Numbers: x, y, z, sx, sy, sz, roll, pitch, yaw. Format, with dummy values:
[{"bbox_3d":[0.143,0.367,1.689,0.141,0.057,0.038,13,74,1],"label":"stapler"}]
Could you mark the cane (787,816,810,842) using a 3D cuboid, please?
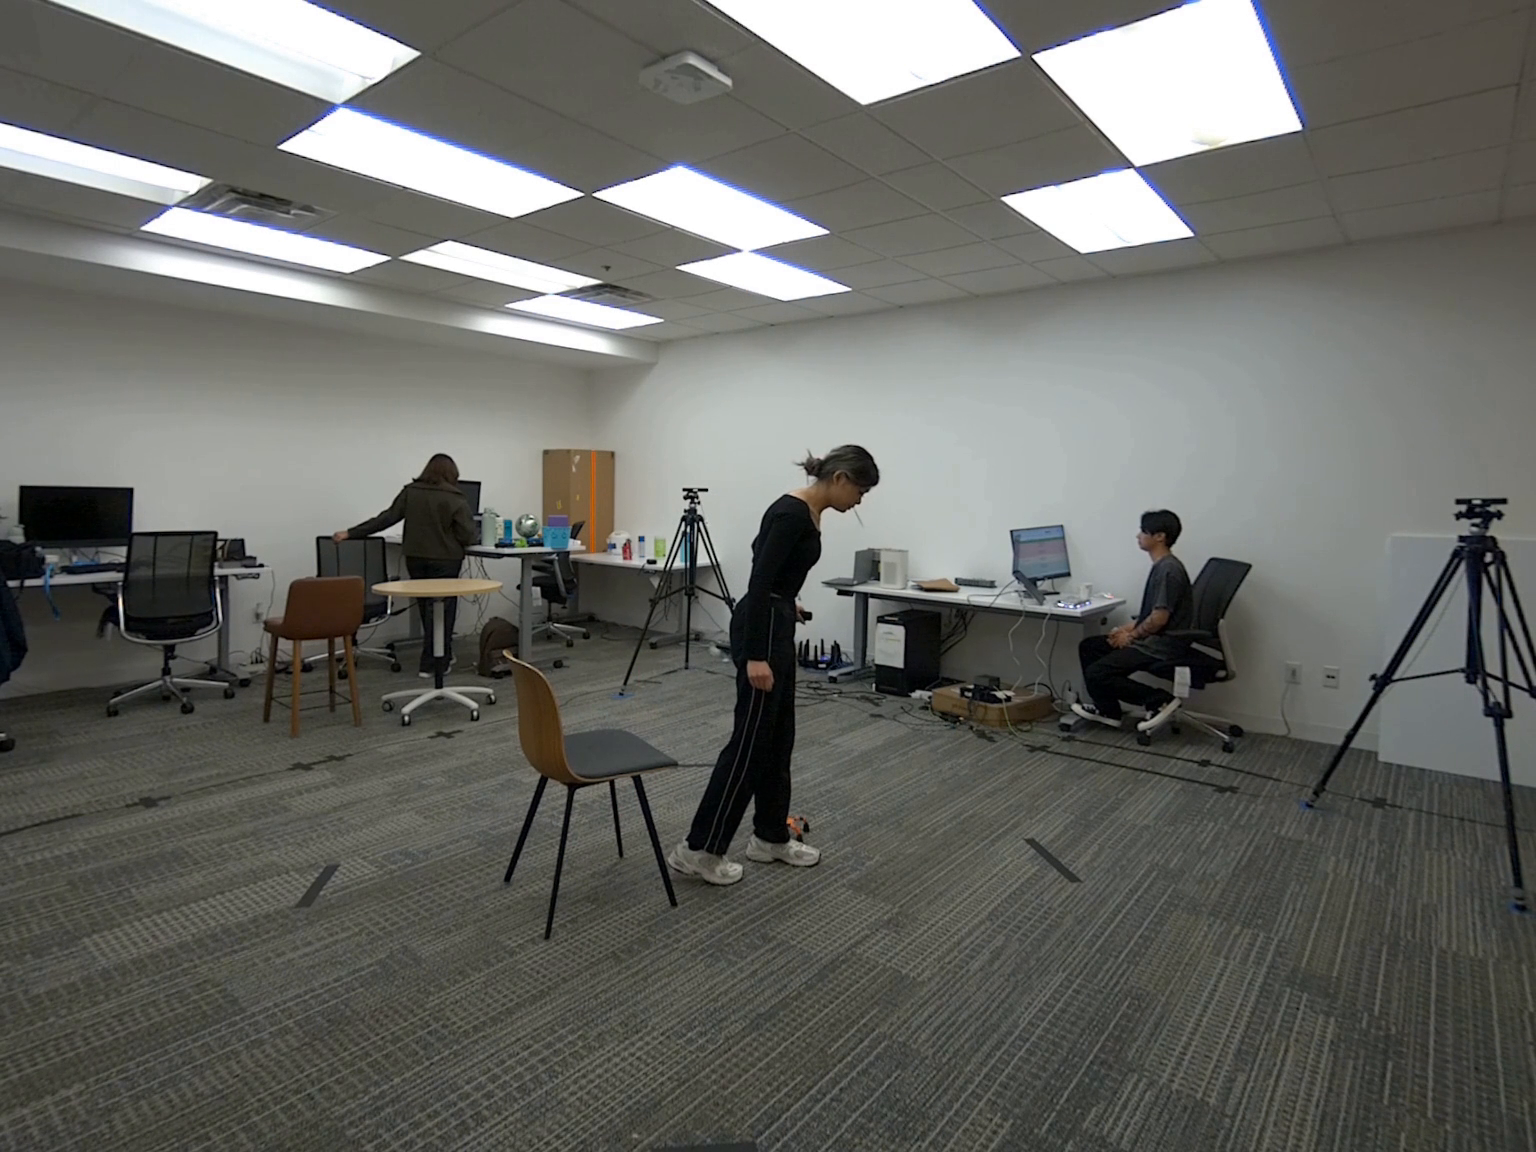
[{"bbox_3d":[0.060,0.584,3.432,0.210,0.906,0.149,2,2,17],"label":"cane"}]
